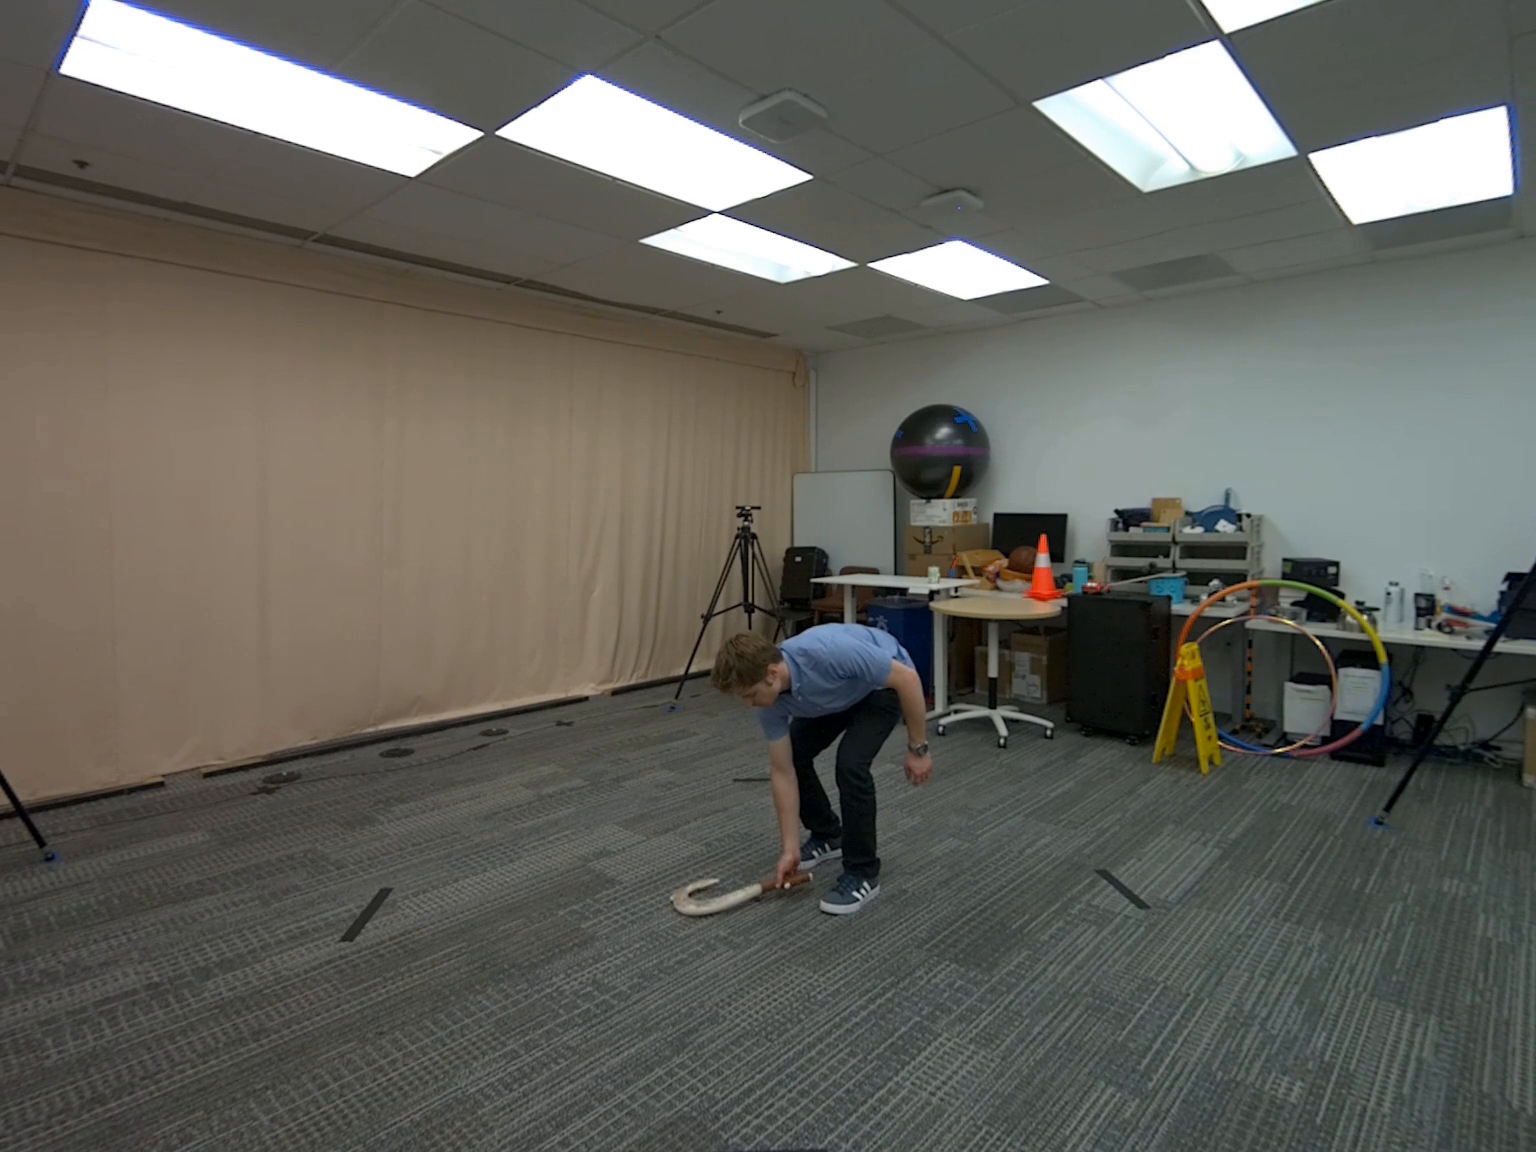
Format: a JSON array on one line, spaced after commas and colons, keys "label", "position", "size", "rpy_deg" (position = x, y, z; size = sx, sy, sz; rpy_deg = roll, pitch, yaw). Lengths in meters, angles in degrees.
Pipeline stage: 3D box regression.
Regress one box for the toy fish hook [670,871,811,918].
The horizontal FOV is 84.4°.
[{"label": "toy fish hook", "position": [-0.092, 1.107, 2.992], "size": [0.498, 0.048, 0.229], "rpy_deg": [-7, 9, -17]}]
